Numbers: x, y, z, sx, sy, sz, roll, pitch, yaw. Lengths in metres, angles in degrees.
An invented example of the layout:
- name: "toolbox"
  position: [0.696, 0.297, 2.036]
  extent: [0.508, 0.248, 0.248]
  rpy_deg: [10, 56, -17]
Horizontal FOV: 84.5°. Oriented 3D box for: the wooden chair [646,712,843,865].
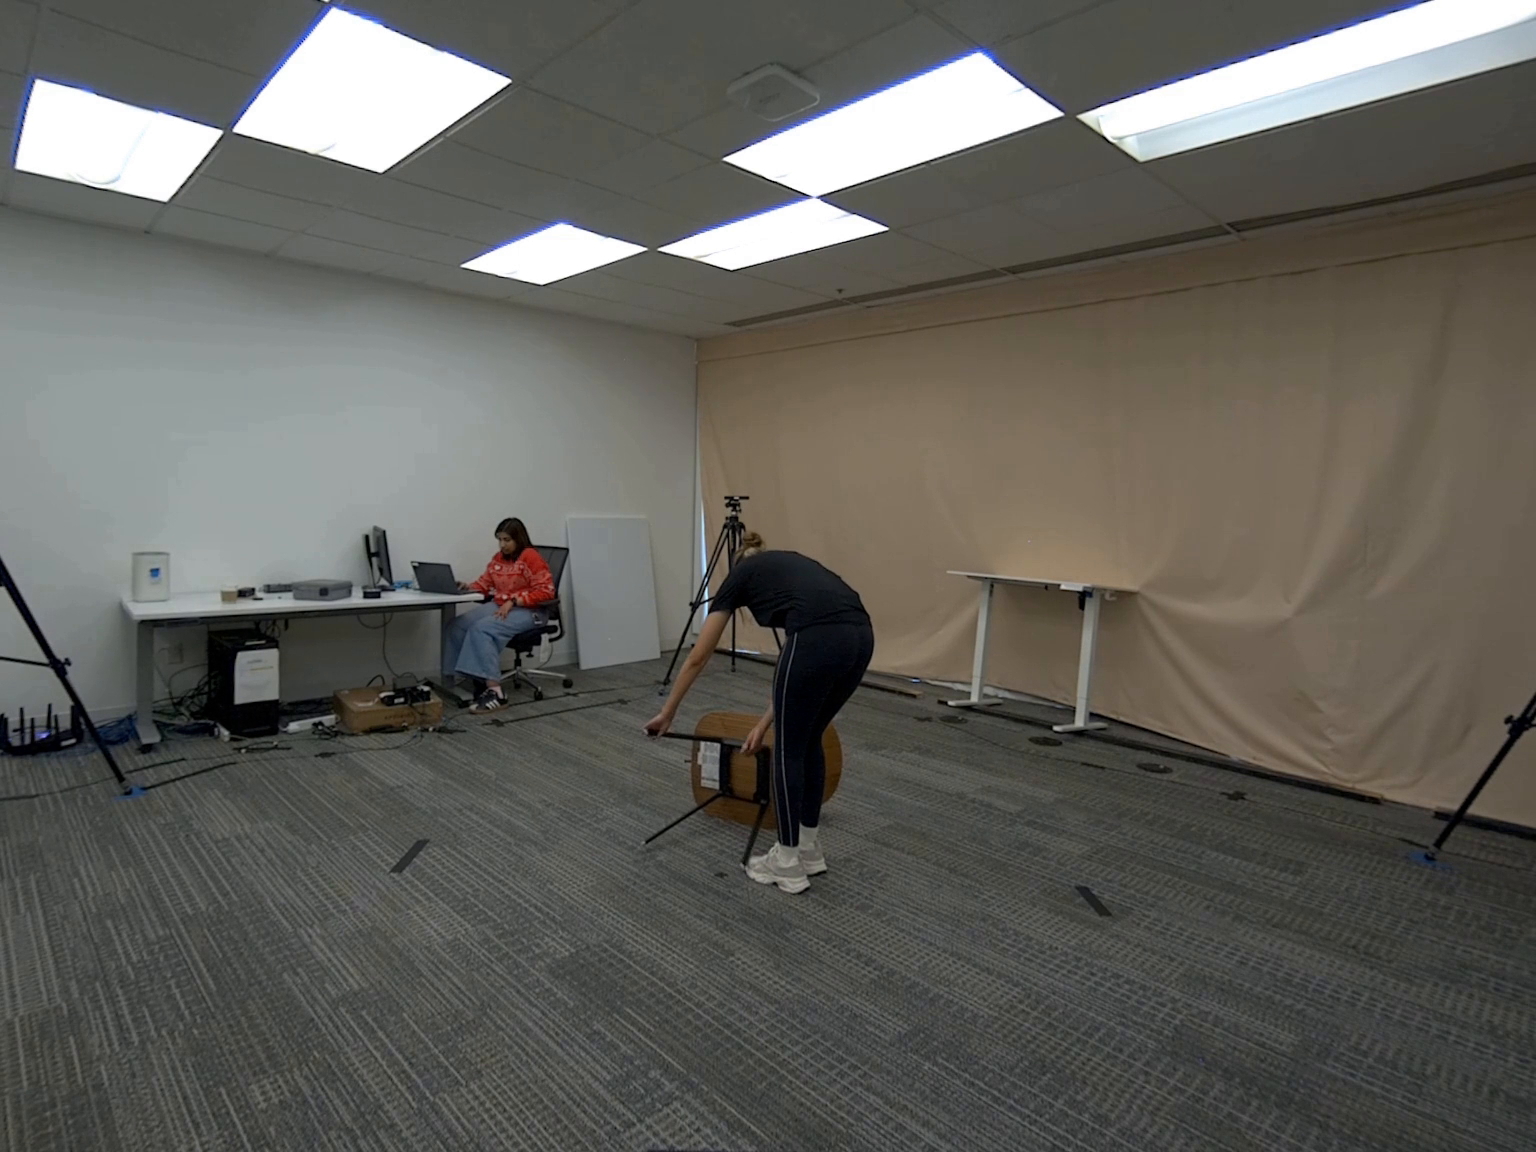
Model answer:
- name: "wooden chair"
  position: [-0.116, 0.832, 3.564]
  extent: [0.534, 0.478, 0.858]
  rpy_deg: [2, 1, 31]
